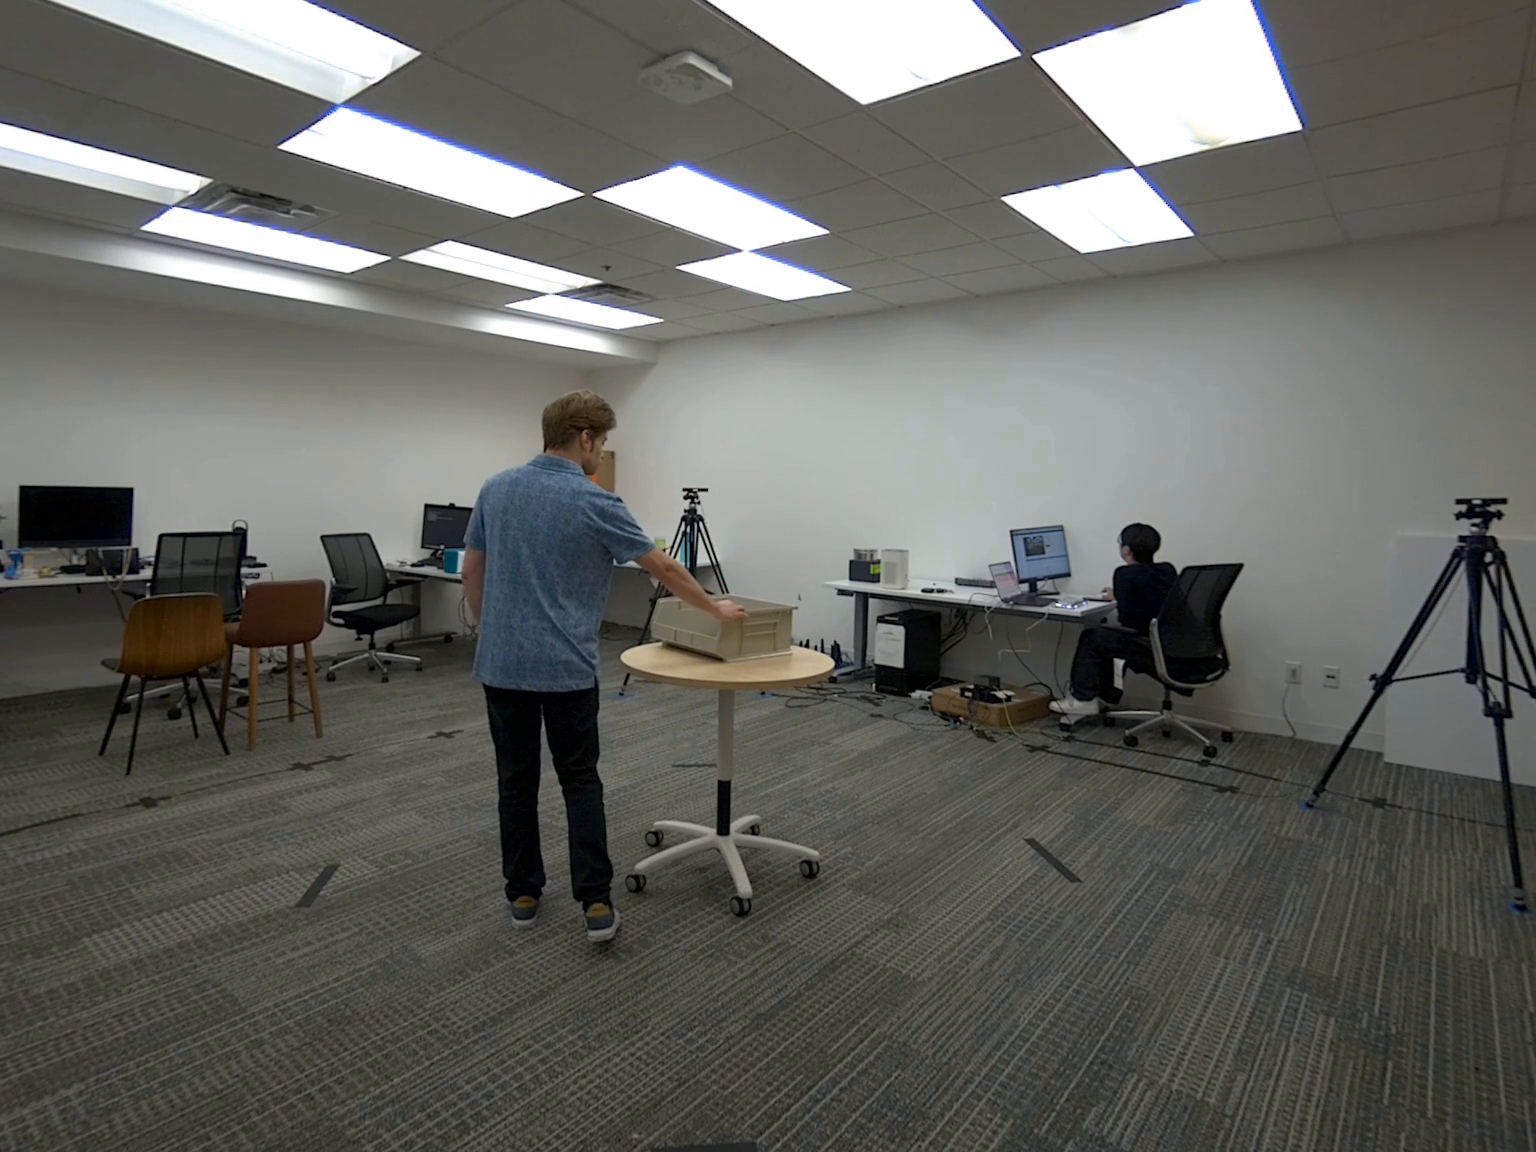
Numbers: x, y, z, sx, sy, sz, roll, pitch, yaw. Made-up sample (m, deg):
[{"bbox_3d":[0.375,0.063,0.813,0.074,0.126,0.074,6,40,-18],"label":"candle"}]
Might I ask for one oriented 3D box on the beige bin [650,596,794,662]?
[{"bbox_3d":[-0.180,0.188,3.207,0.366,0.188,0.437,-1,5,-40],"label":"beige bin"}]
